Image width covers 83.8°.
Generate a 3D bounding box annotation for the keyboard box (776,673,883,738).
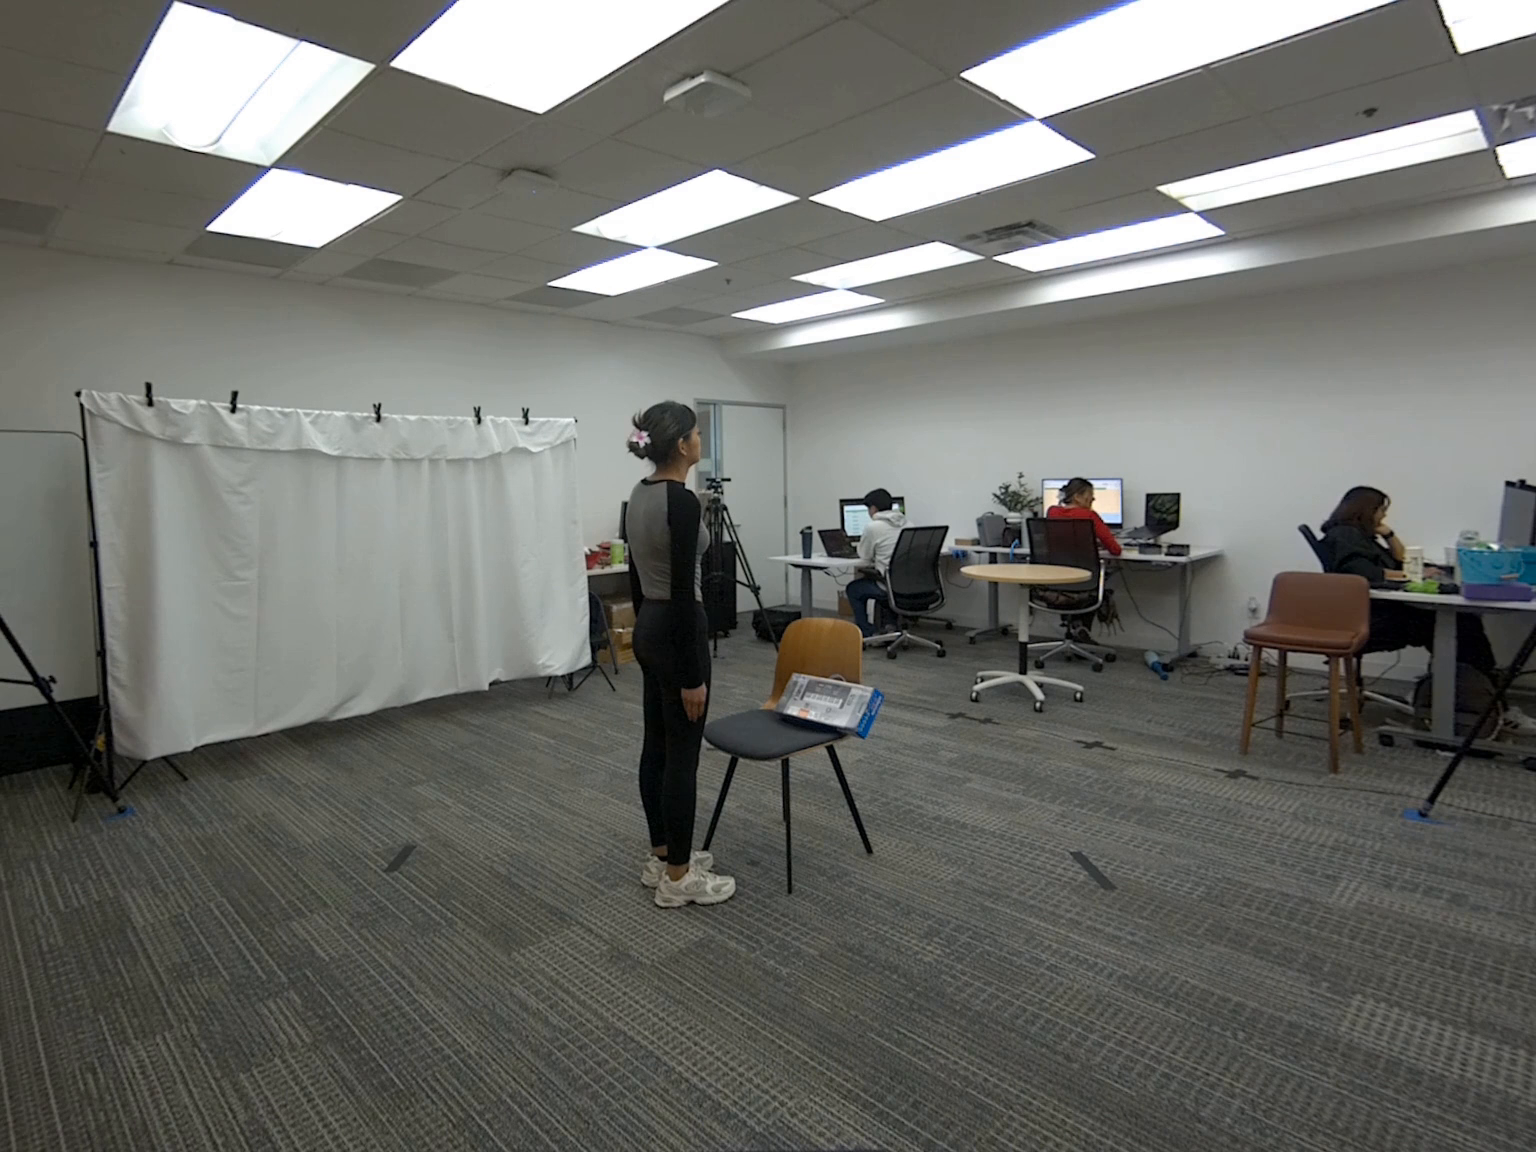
[{"bbox_3d":[0.213,0.475,3.125,0.057,0.177,0.449,42,-23,-31],"label":"keyboard box"}]
